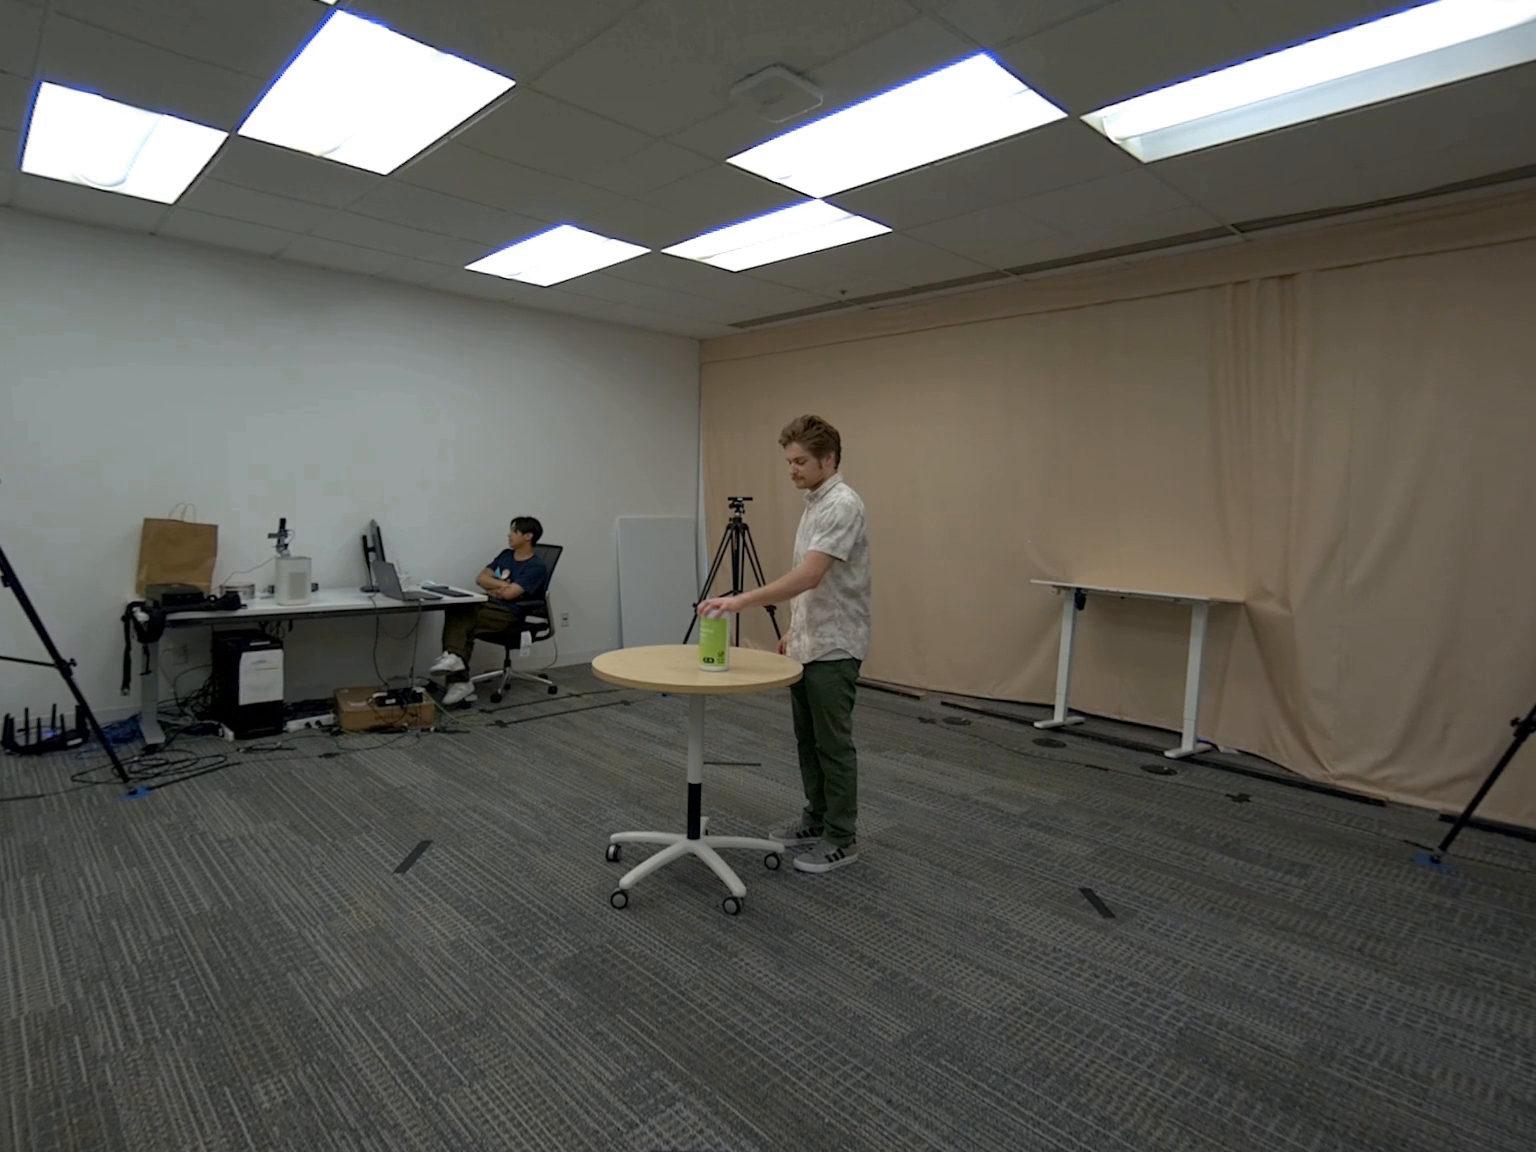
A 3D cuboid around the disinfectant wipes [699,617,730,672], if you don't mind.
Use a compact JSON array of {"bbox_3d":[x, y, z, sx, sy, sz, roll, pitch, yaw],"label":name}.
[{"bbox_3d":[-0.193,0.224,2.961,0.118,0.216,0.118,1,6,-1],"label":"disinfectant wipes"}]
